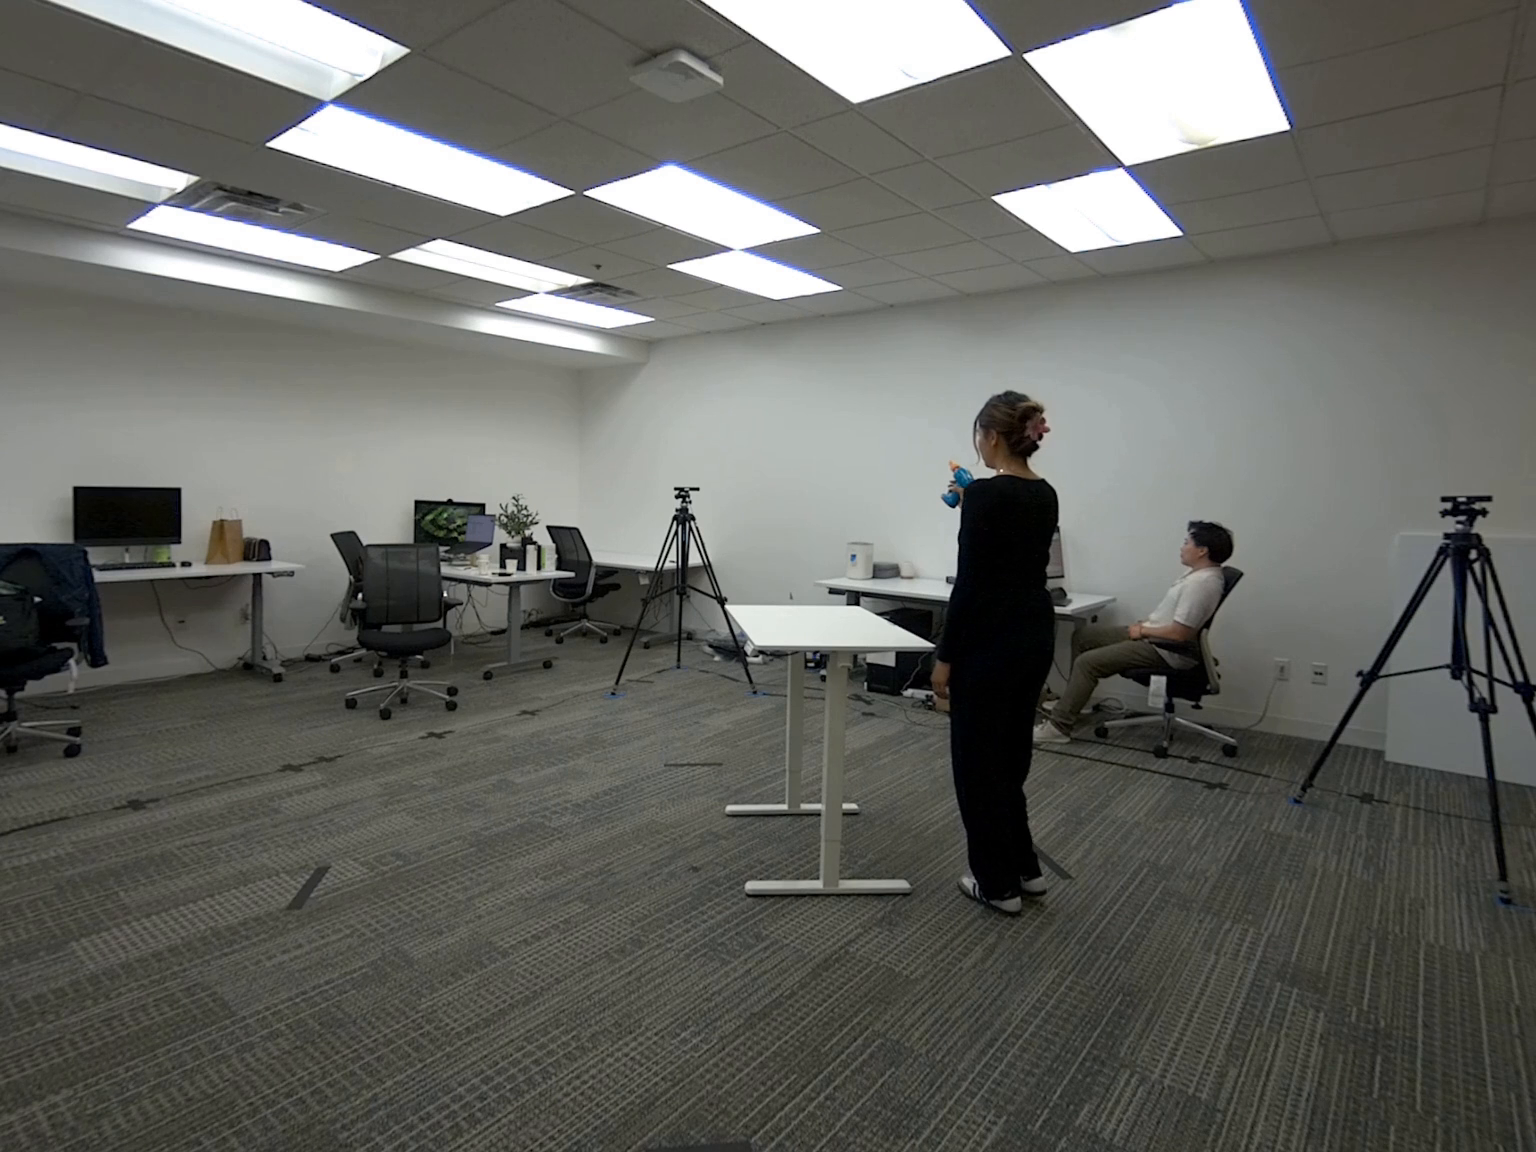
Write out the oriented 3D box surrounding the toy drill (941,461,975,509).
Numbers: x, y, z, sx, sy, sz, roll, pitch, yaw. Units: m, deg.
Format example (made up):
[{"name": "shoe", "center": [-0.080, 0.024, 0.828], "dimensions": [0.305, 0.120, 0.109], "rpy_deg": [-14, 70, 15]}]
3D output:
[{"name": "toy drill", "center": [0.715, -0.365, 3.268], "dimensions": [0.059, 0.145, 0.176], "rpy_deg": [12, 38, -35]}]
